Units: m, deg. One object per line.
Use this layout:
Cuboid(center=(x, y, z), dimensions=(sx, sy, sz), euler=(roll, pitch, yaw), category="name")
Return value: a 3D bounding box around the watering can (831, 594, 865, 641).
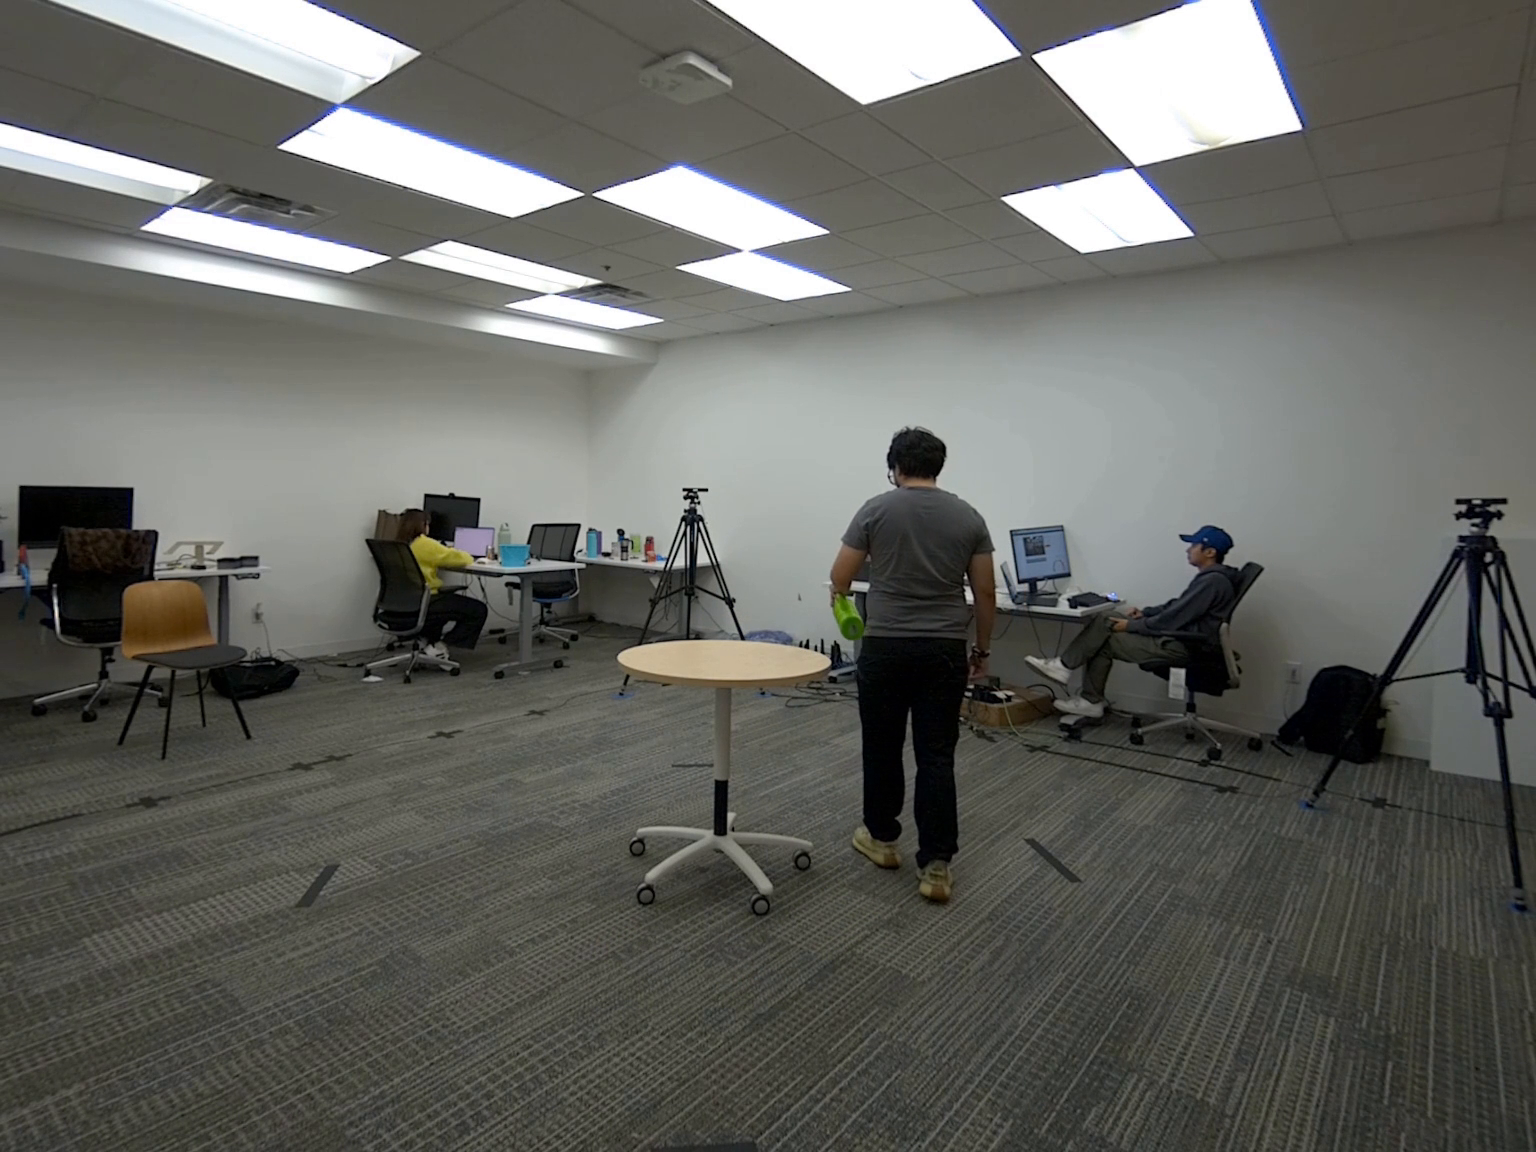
Cuboid(center=(0.331, 0.182, 3.470), dimensions=(0.098, 0.267, 0.183), euler=(-30, 38, 10), category="watering can")
